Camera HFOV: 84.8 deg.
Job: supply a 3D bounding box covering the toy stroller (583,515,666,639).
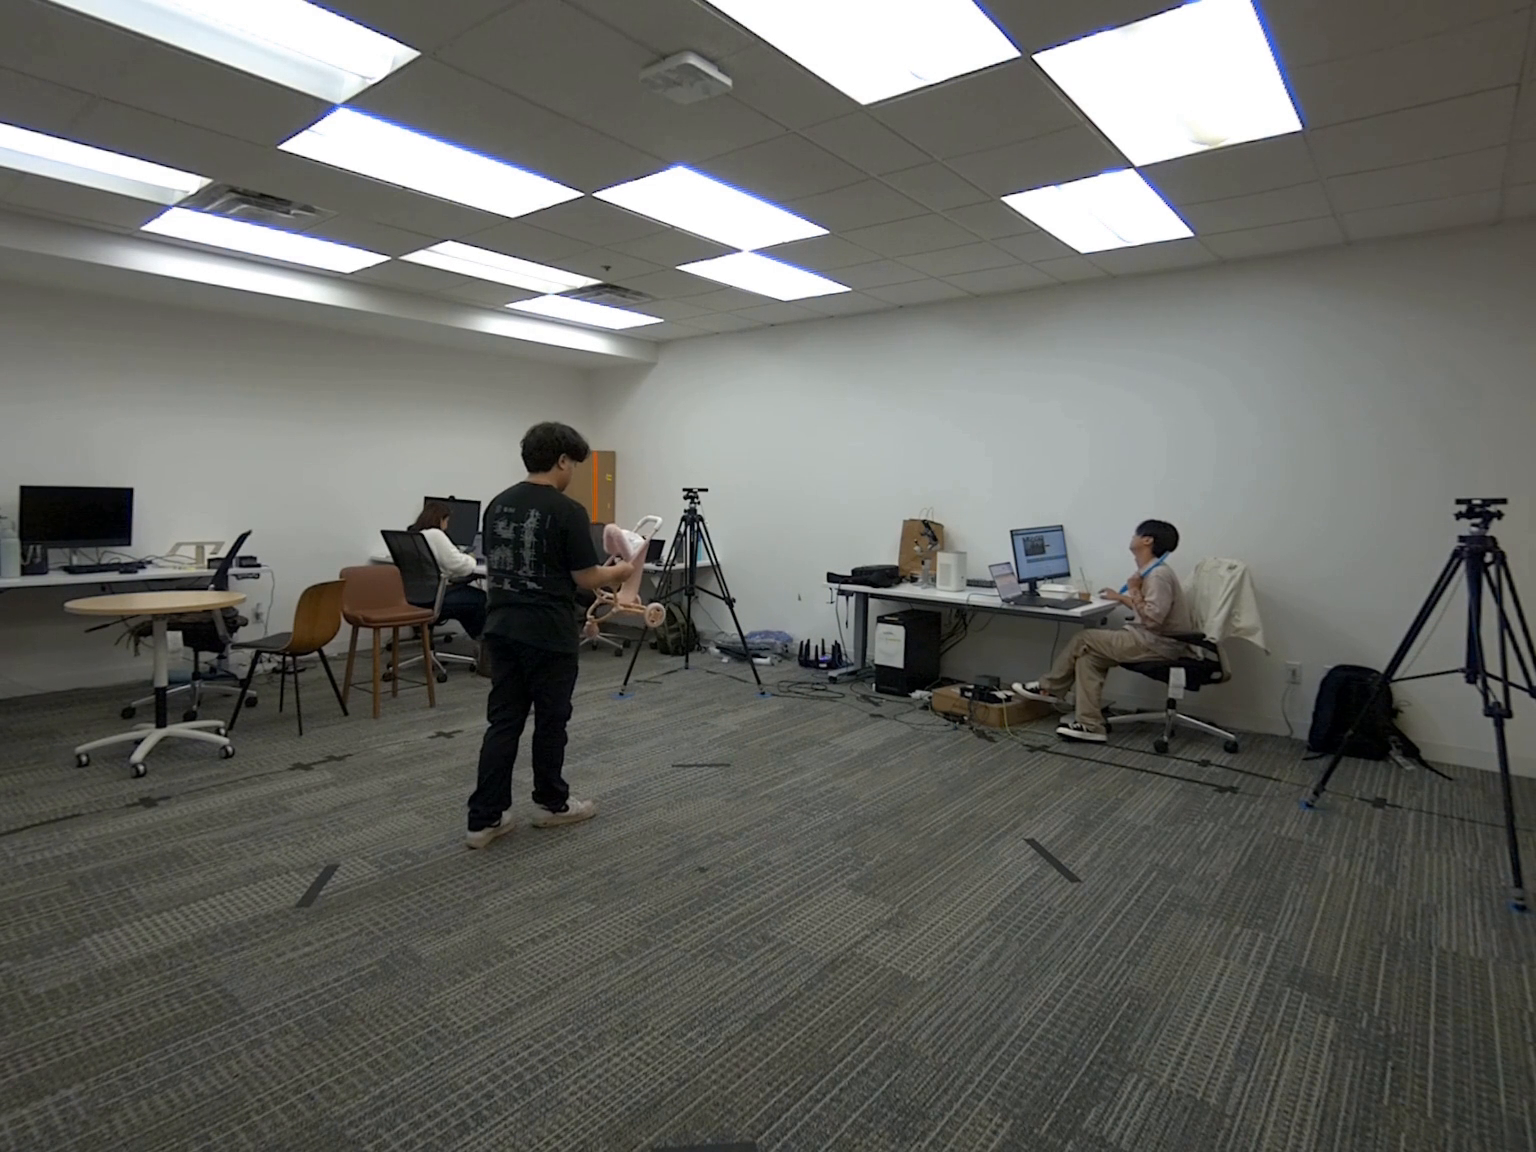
[{"bbox_3d":[-0.673,0.002,3.771,0.333,0.531,0.291,-2,10,-28],"label":"toy stroller"}]
